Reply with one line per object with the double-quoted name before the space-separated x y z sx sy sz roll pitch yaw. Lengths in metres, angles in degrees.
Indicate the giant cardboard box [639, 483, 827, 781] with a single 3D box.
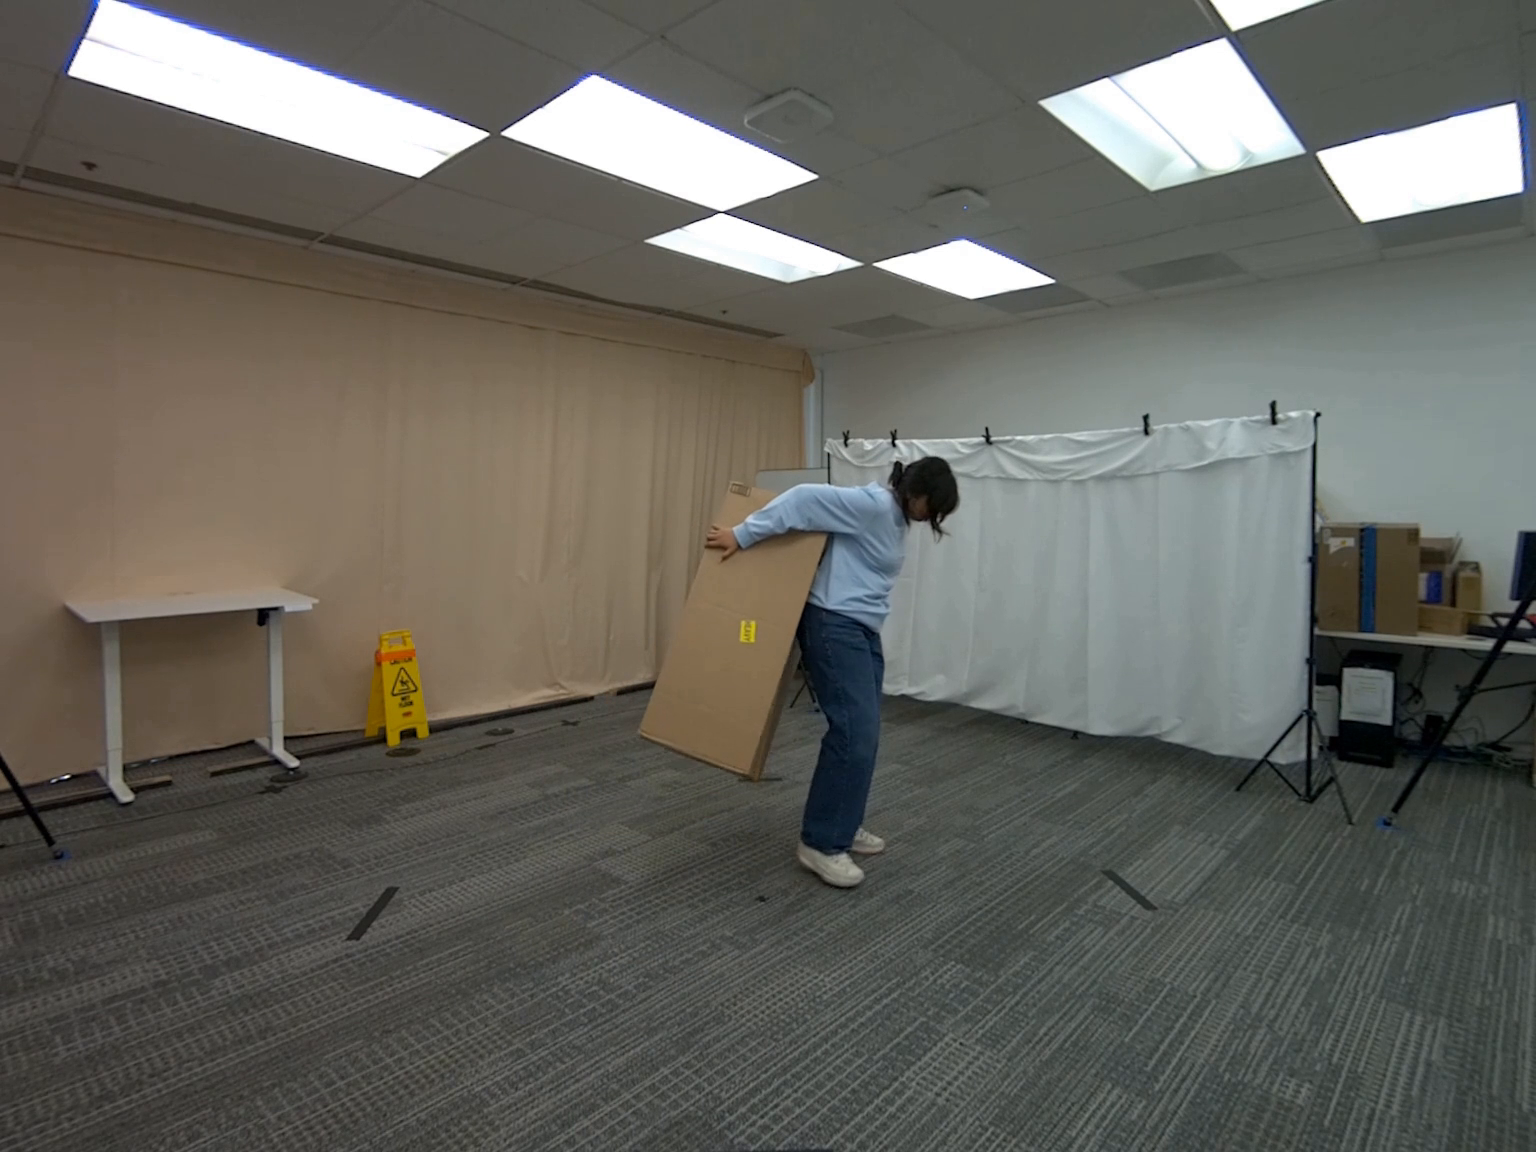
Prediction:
"giant cardboard box" -0.089 0.240 3.336 0.432 1.029 0.568 17 -15 9
